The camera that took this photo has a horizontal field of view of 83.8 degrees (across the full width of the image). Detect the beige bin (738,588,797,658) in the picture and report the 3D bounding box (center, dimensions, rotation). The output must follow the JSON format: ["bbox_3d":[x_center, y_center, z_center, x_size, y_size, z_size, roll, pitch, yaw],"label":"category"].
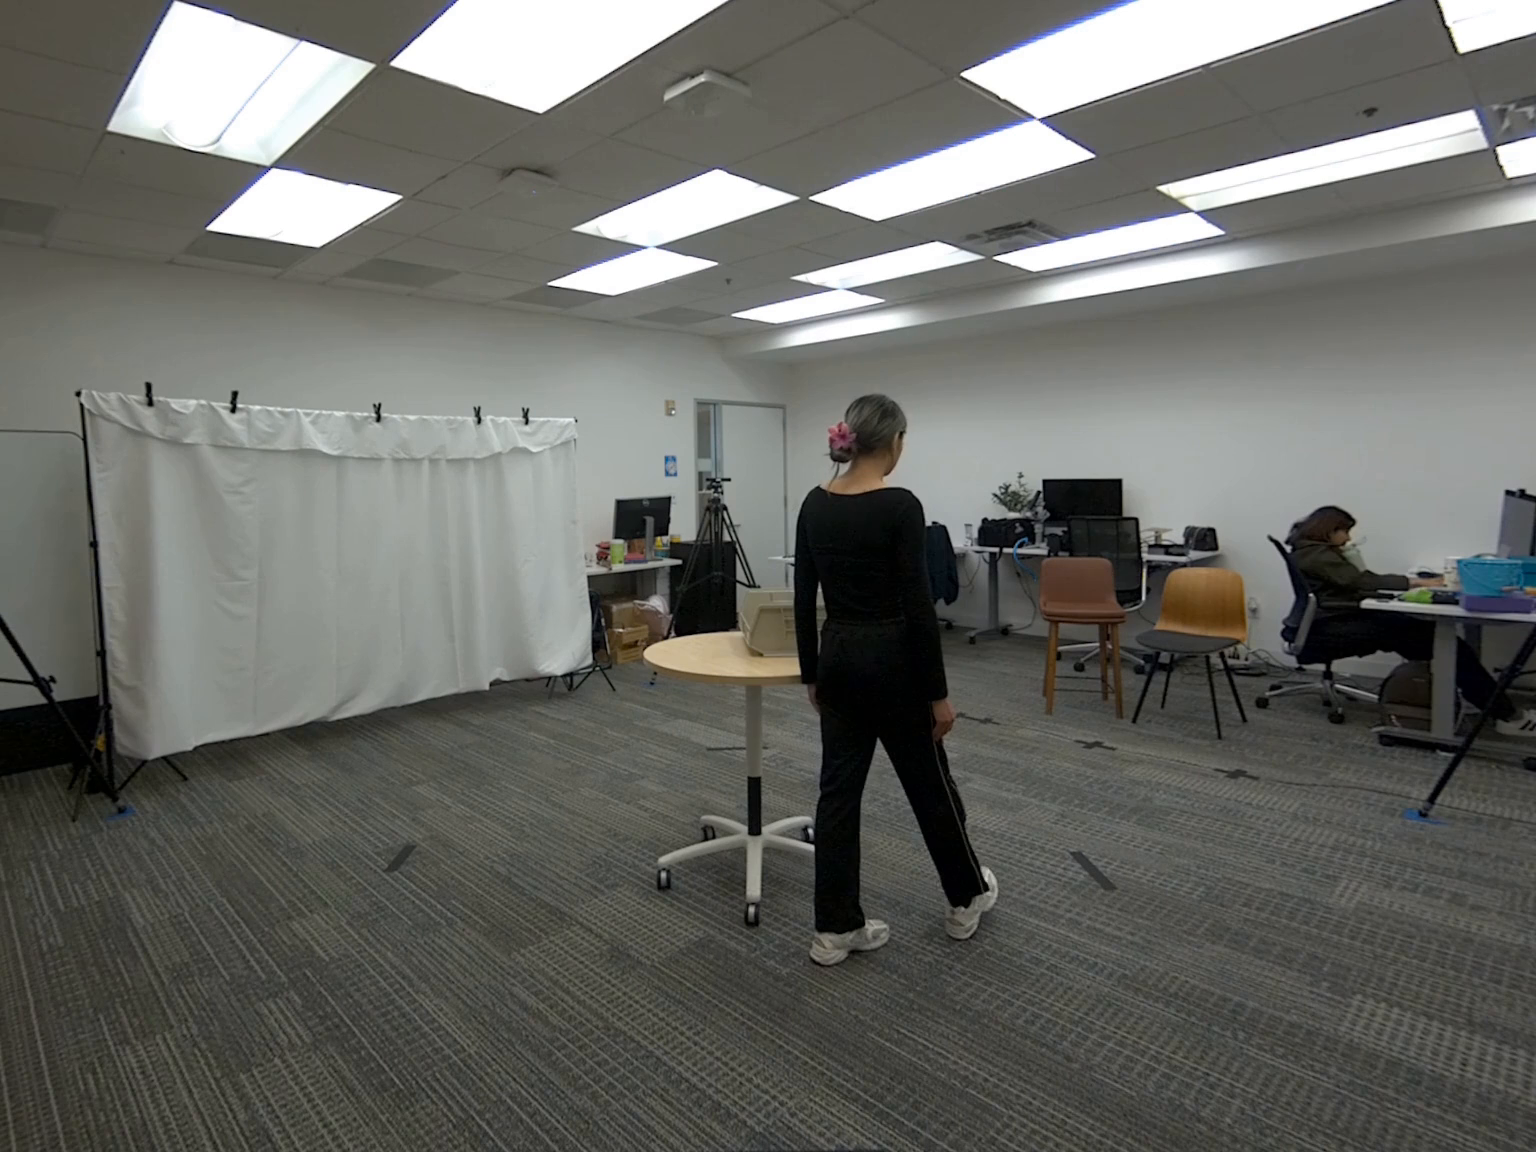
[{"bbox_3d":[0.100,0.156,3.081,0.376,0.188,0.427,-1,8,-5],"label":"beige bin"}]
